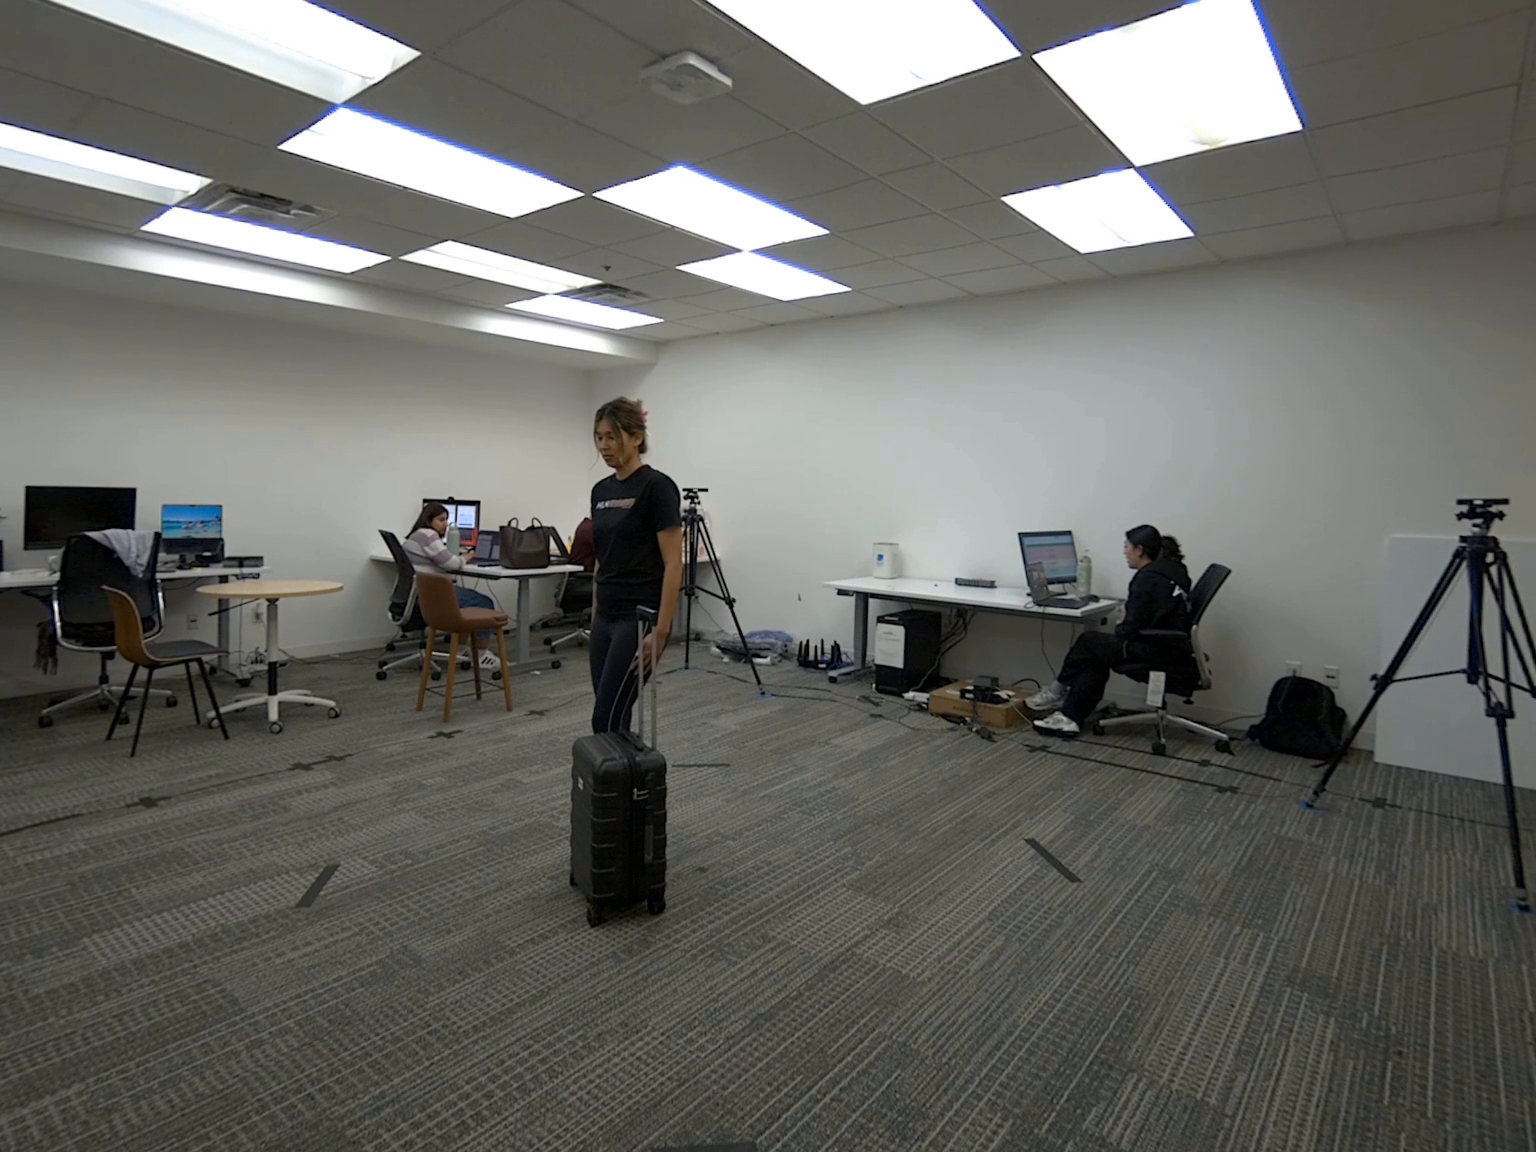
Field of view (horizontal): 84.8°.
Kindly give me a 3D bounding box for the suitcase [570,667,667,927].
[{"bbox_3d":[-0.513,0.614,2.831,0.251,0.976,0.394,-1,3,-23],"label":"suitcase"}]
